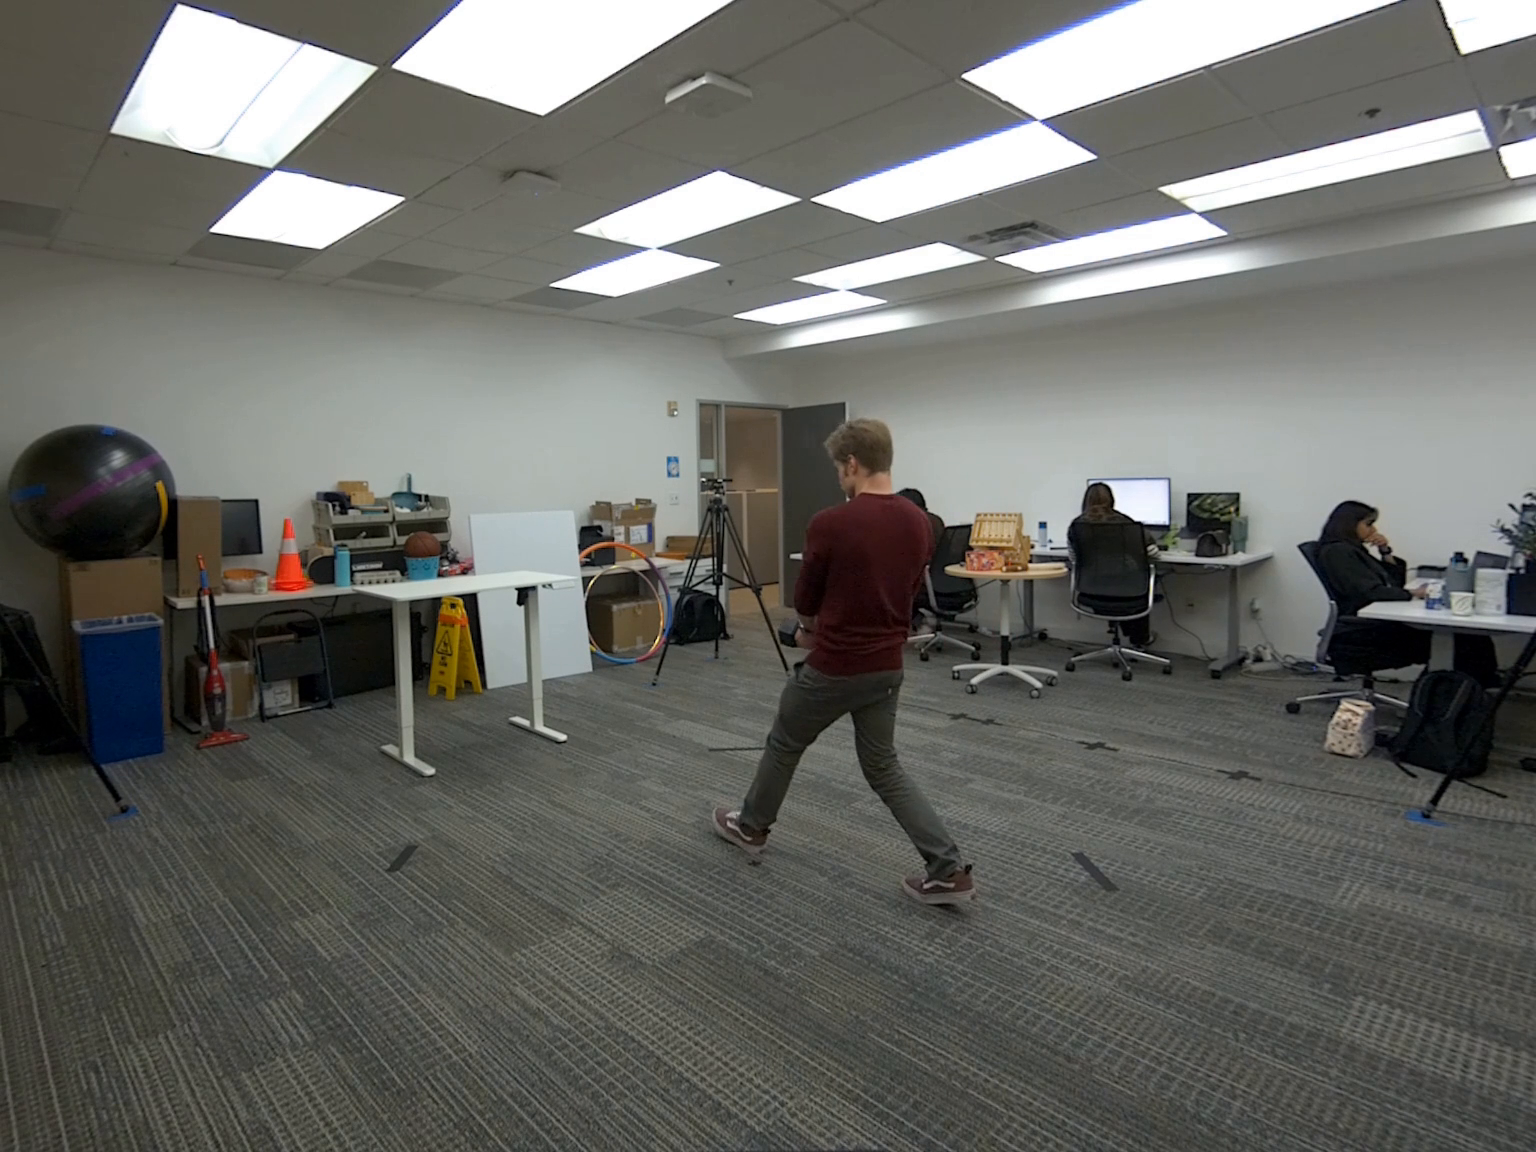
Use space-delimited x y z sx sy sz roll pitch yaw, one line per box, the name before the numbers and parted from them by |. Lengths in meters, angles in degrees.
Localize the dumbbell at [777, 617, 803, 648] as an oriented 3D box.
dumbbell | 0.180 0.239 3.208 0.304 0.123 0.104 15 -24 41
